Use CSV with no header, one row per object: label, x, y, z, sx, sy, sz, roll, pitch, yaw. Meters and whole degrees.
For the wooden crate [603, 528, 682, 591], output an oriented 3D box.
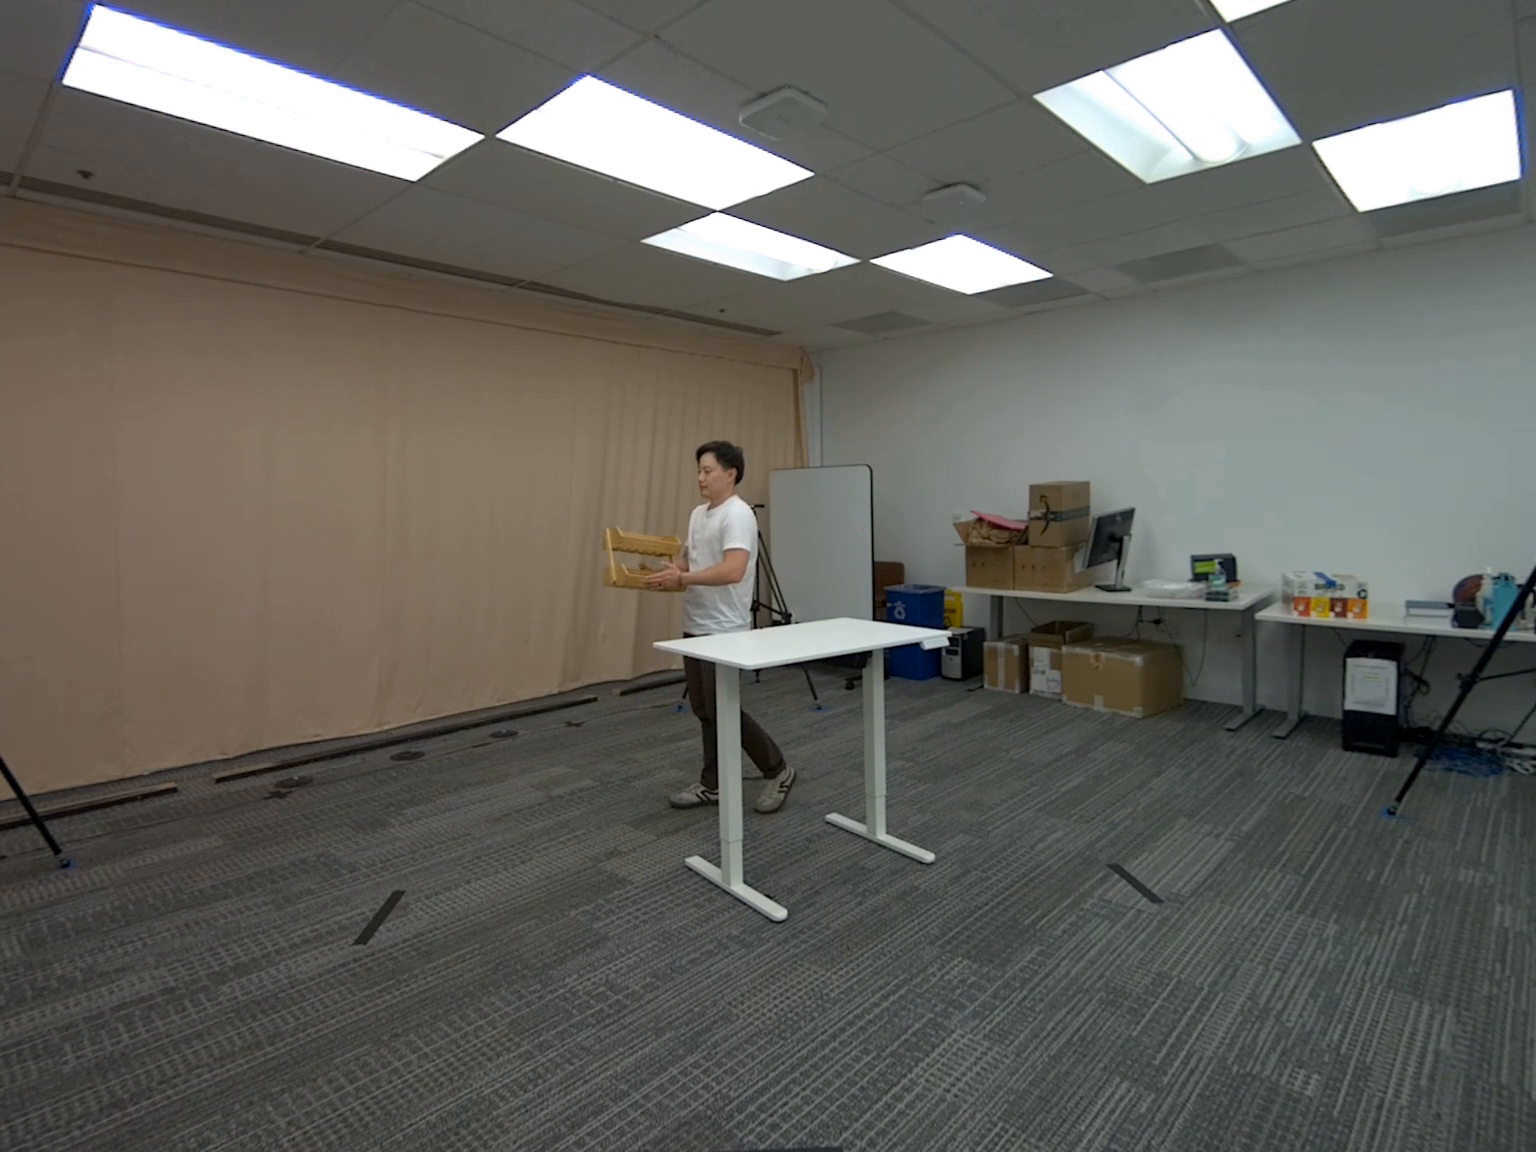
wooden crate,-0.548,-0.075,3.779,0.315,0.274,0.310,7,-6,-33
